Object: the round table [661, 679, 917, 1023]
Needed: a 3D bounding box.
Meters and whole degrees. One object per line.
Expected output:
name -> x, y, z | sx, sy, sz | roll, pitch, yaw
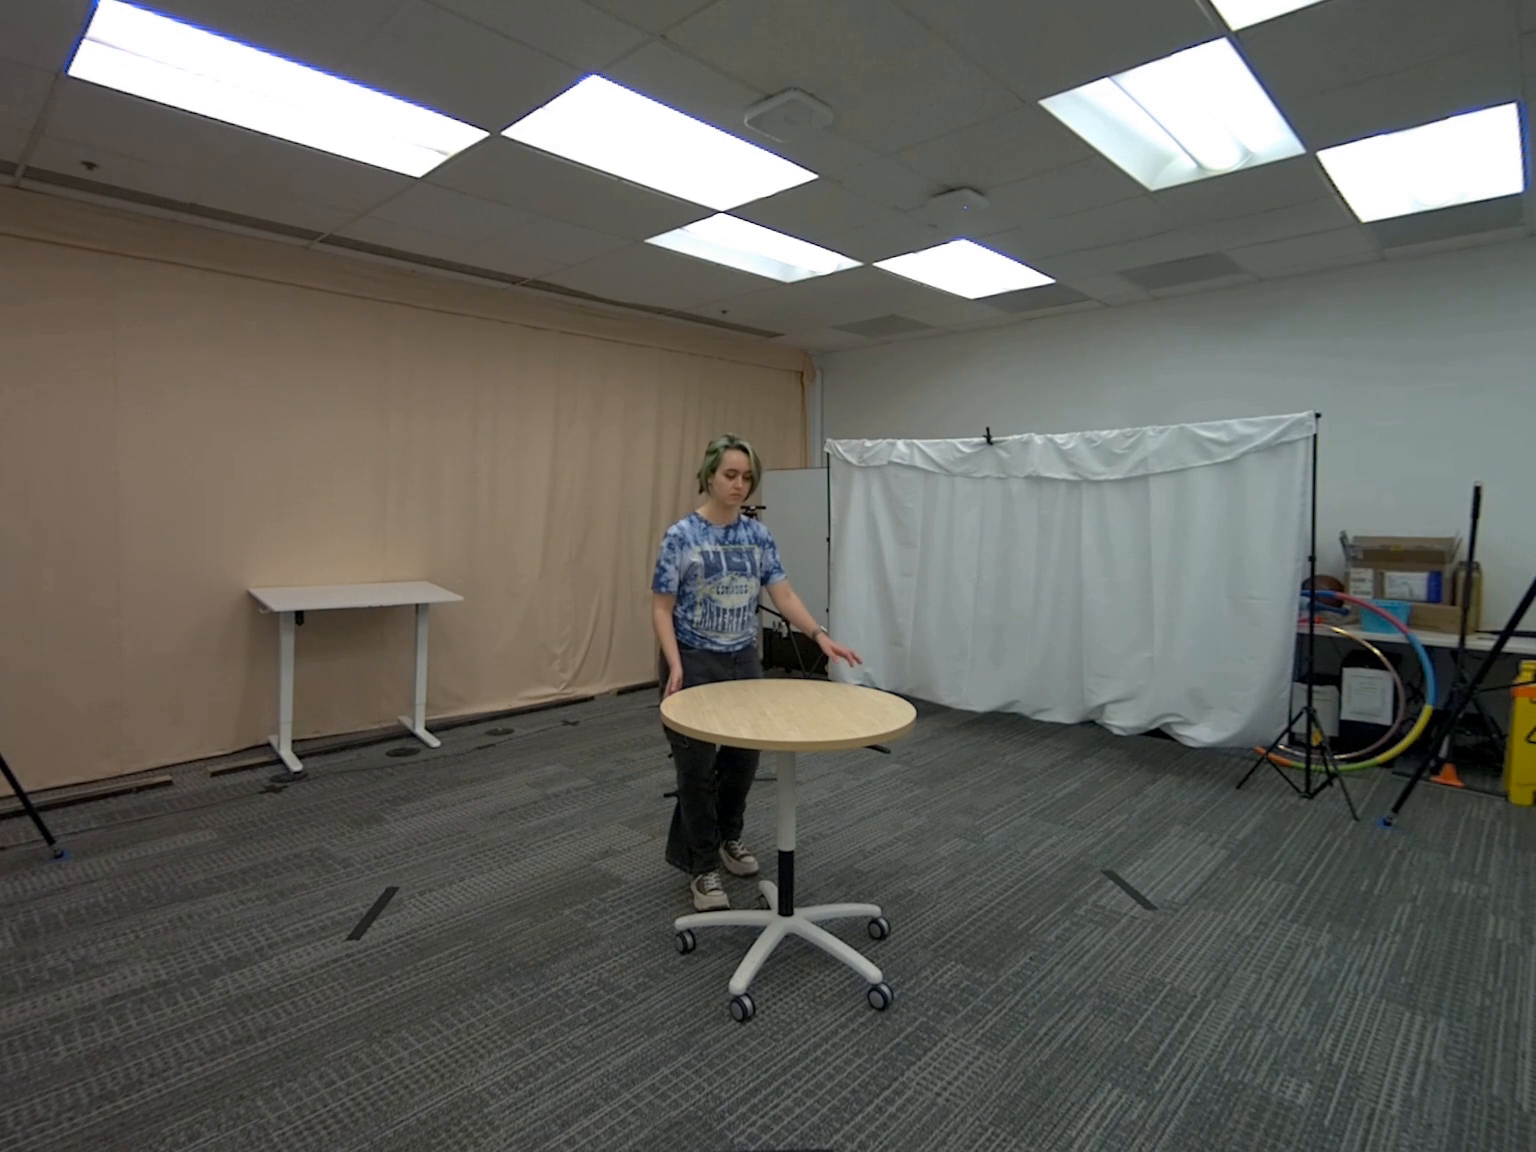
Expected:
round table -> 0.069, 0.790, 2.568 | 0.763, 0.792, 0.767 | 0, 4, -2
